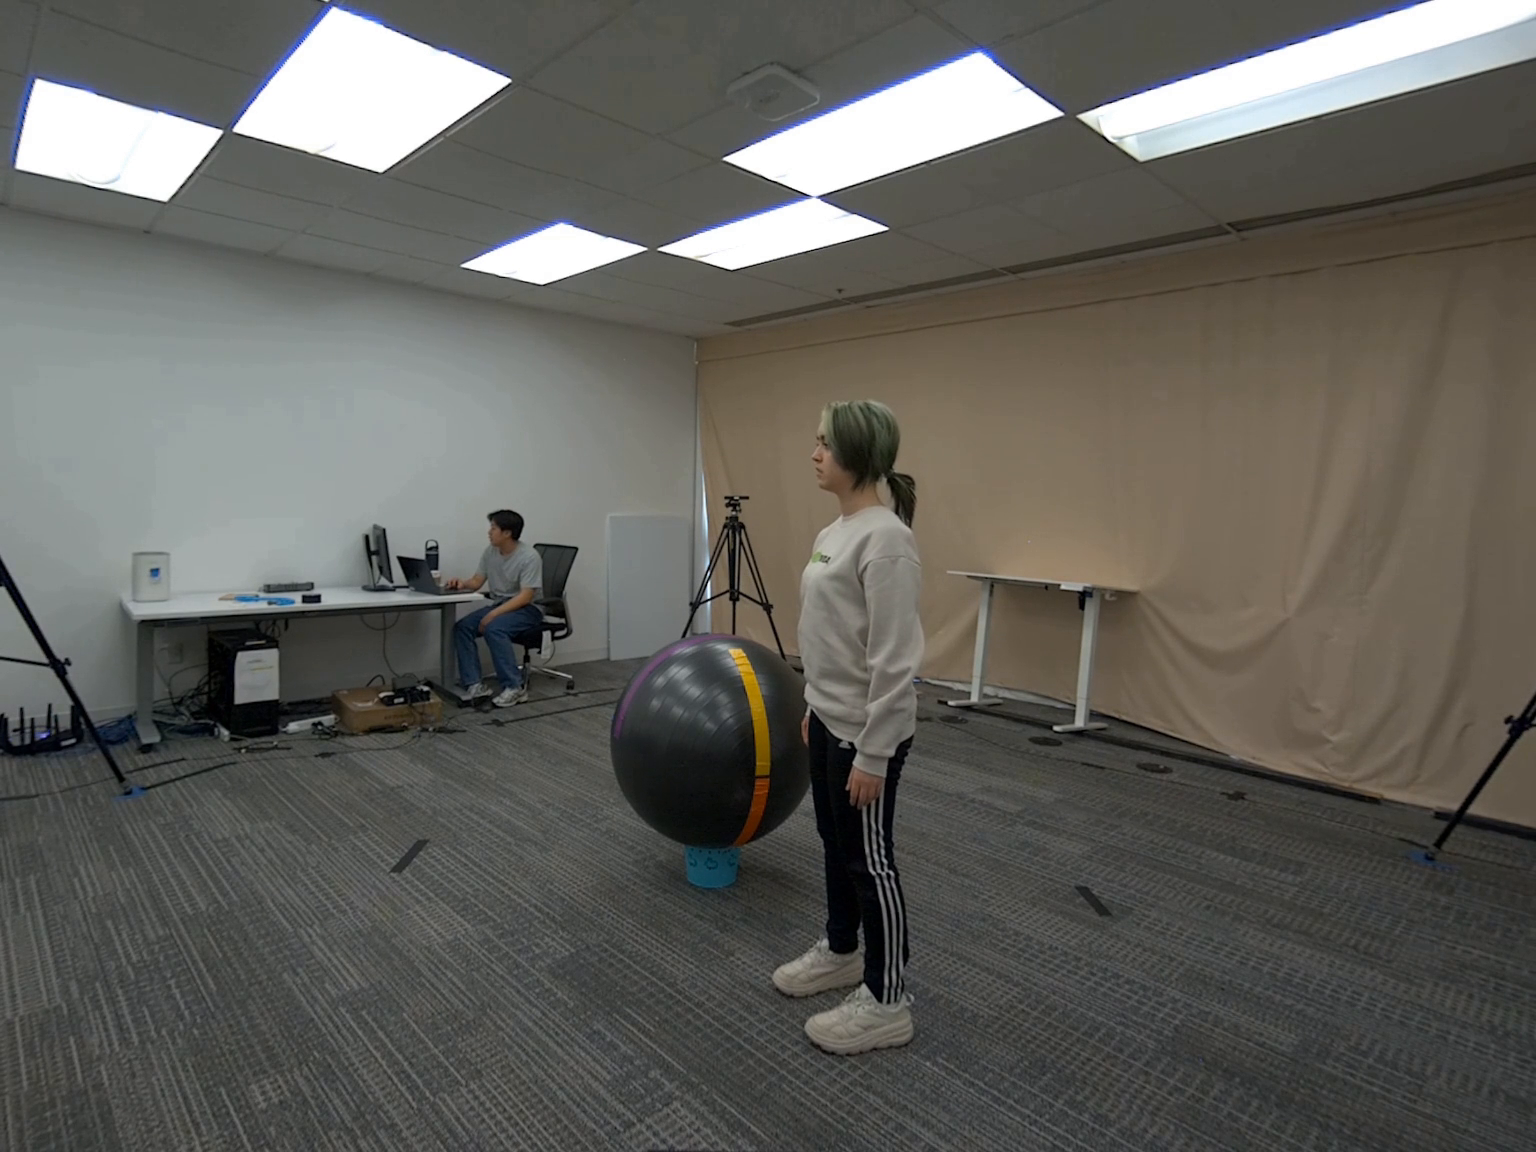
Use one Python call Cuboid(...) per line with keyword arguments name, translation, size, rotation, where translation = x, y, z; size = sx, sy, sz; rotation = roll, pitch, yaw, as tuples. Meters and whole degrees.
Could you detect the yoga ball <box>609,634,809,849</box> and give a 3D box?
Cuboid(name="yoga ball", translation=(-0.196, 0.592, 3.061), size=(0.757, 0.756, 0.761), rotation=(1, 4, -1))
